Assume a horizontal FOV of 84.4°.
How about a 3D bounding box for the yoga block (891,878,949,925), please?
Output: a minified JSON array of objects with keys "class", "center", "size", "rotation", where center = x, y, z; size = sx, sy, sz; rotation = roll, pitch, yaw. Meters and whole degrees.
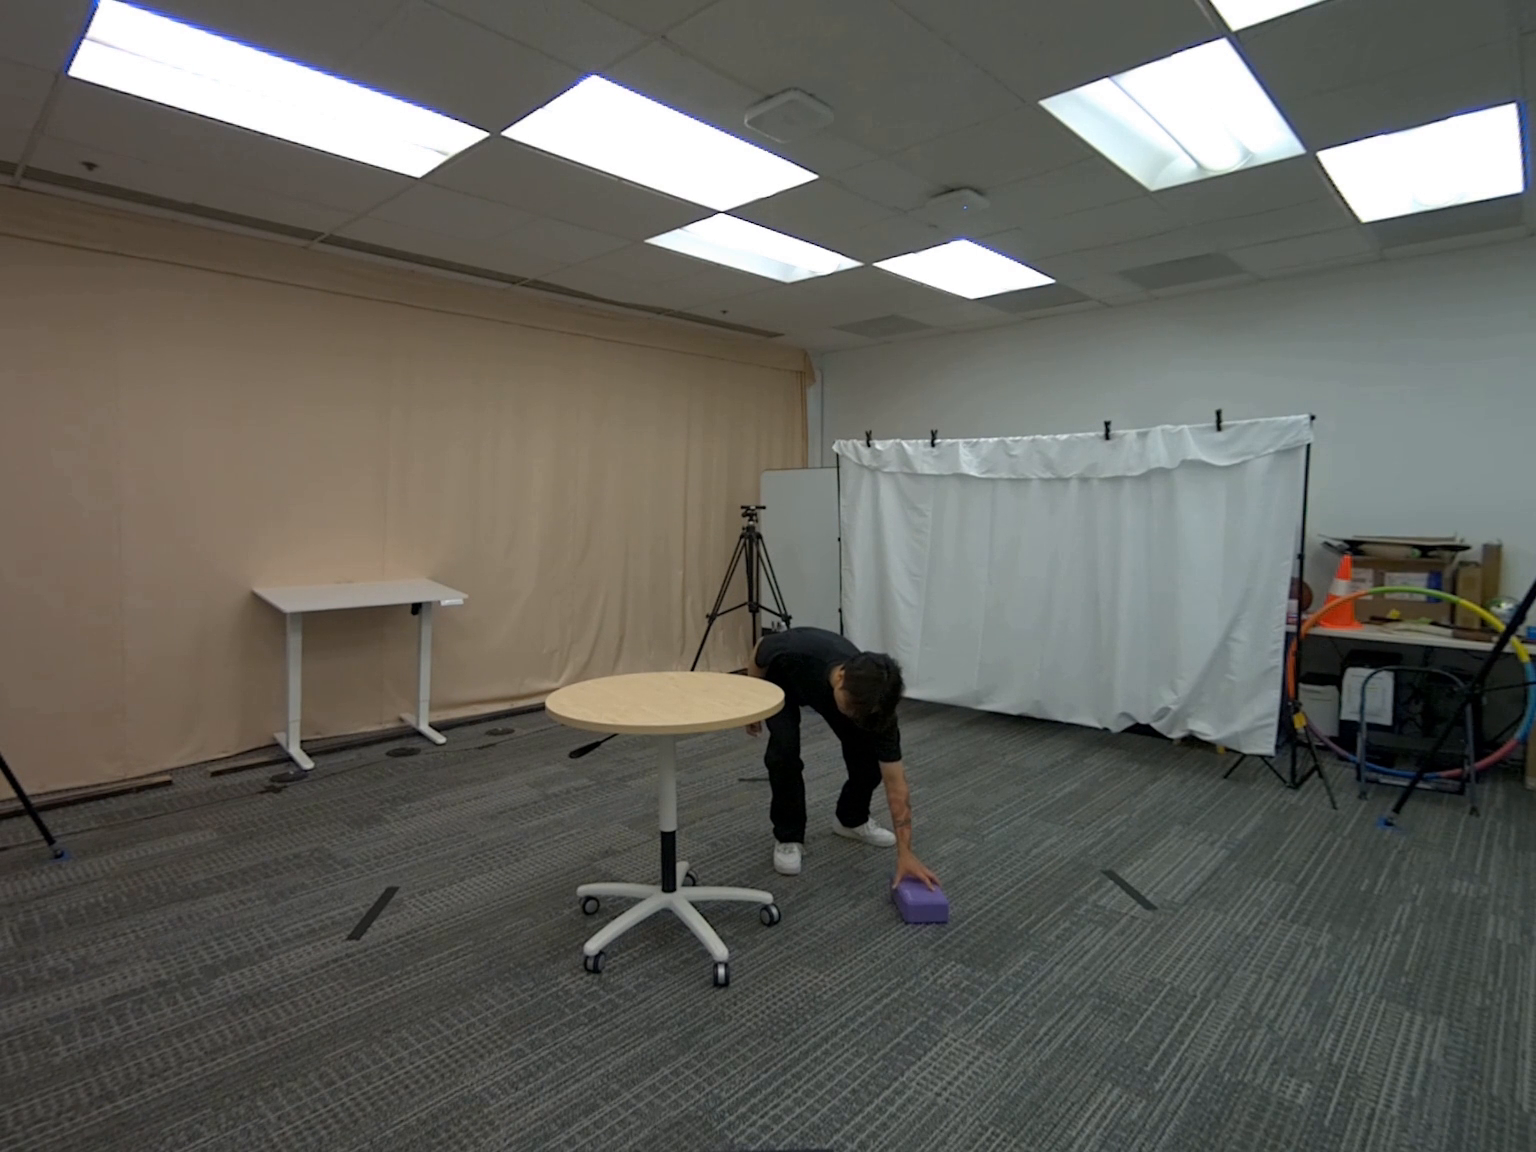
[{"class":"yoga block","center":[0.518,1.106,2.907],"size":[0.148,0.076,0.230],"rotation":[0,4,-3]}]
